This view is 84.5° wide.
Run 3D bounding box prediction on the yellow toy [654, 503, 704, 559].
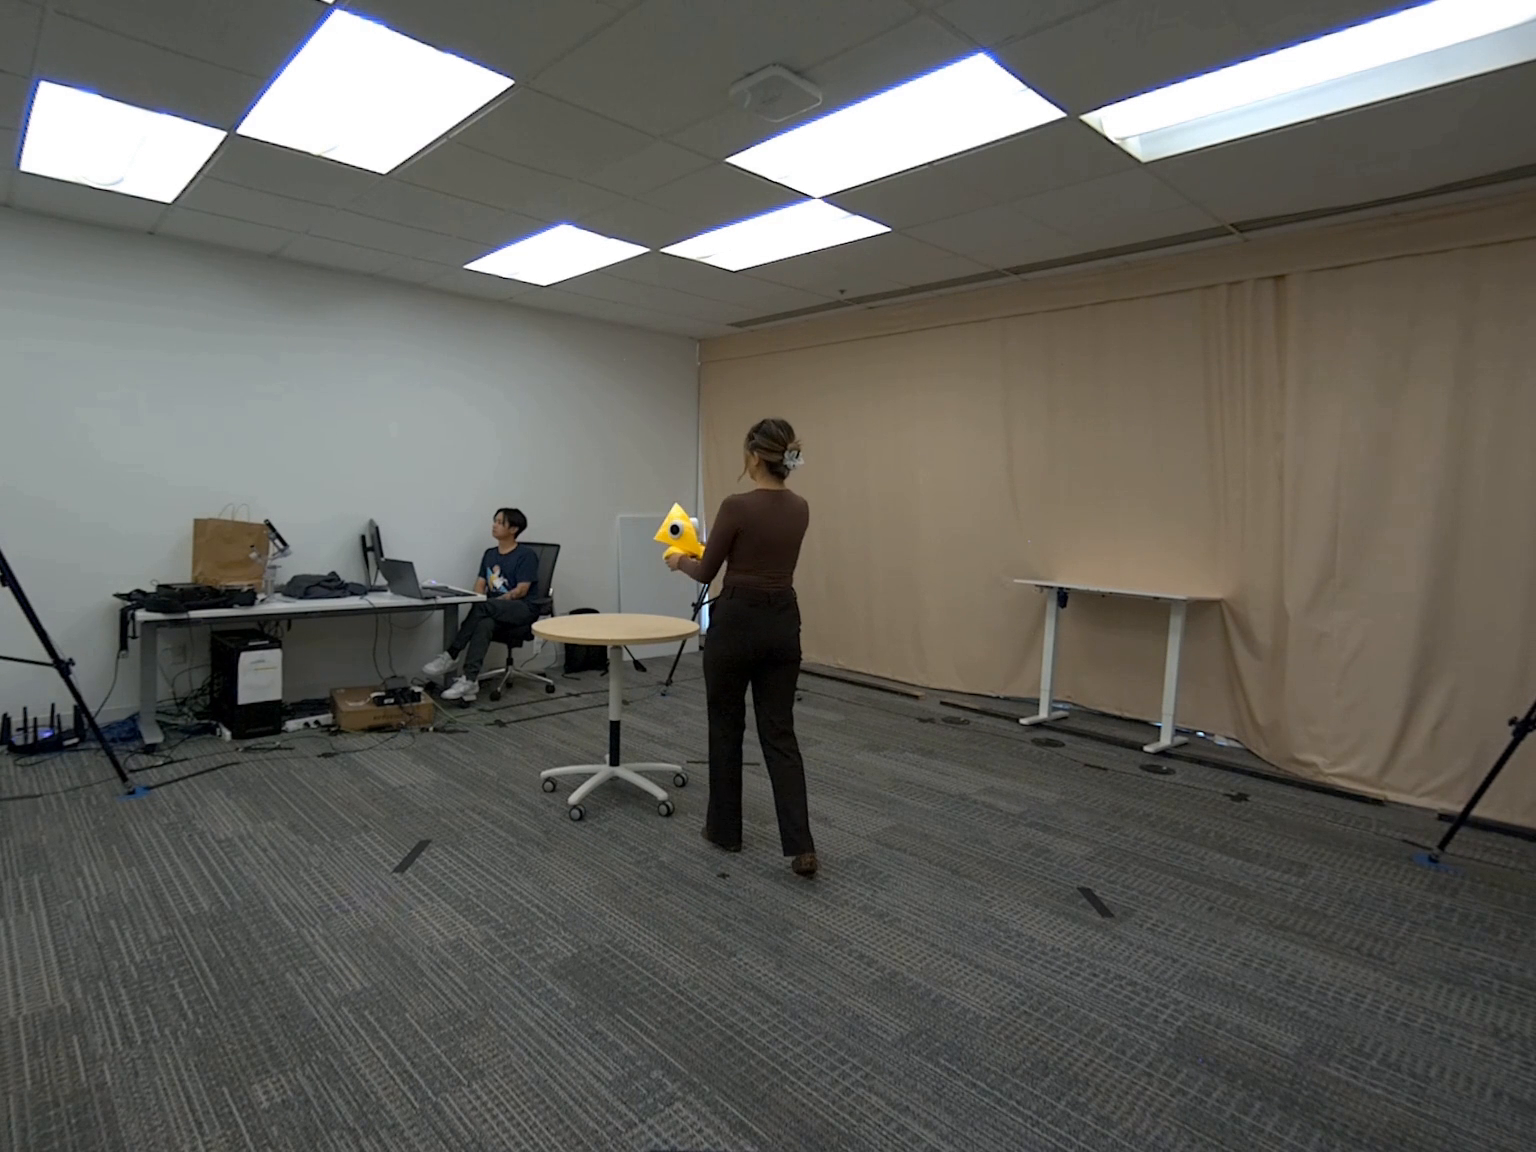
[{"bbox_3d":[-0.362,-0.196,3.624,0.201,0.229,0.198,-10,14,-41],"label":"yellow toy"}]
